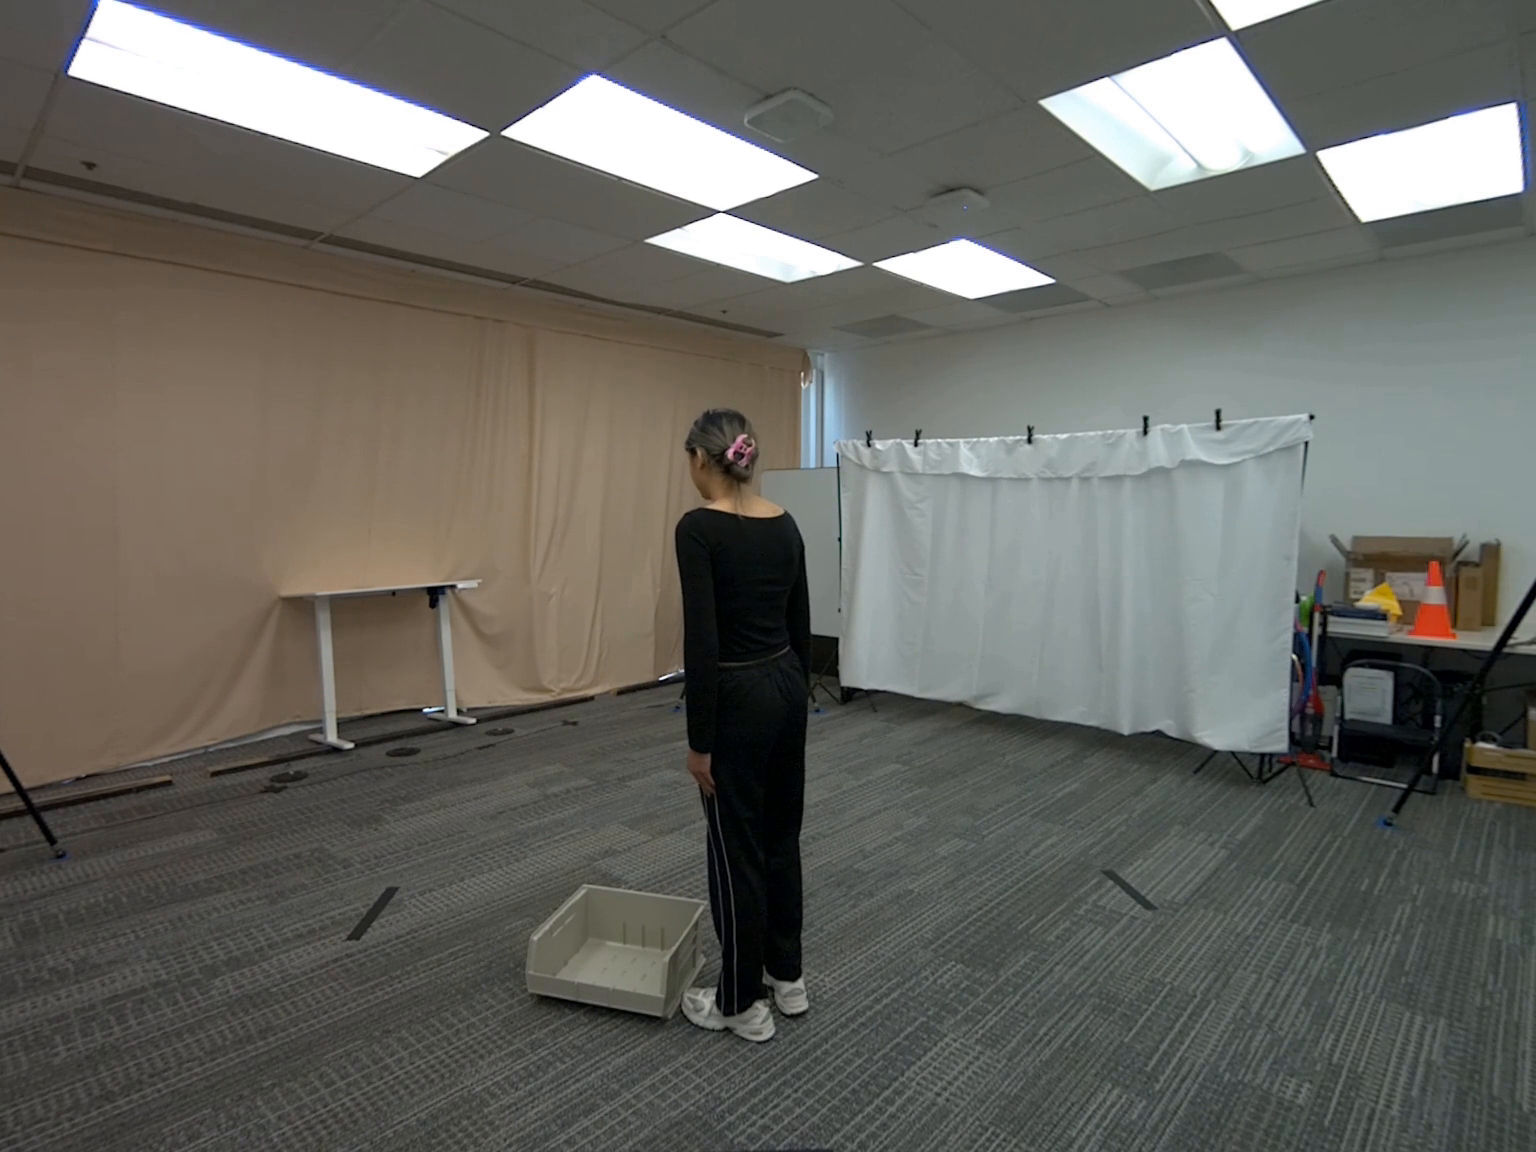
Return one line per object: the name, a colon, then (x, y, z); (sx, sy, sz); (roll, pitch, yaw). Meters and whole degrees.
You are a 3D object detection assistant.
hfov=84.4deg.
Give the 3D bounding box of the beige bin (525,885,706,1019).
beige bin: (-0.428, 1.098, 2.467); (0.430, 0.189, 0.371); (1, 3, 16)
